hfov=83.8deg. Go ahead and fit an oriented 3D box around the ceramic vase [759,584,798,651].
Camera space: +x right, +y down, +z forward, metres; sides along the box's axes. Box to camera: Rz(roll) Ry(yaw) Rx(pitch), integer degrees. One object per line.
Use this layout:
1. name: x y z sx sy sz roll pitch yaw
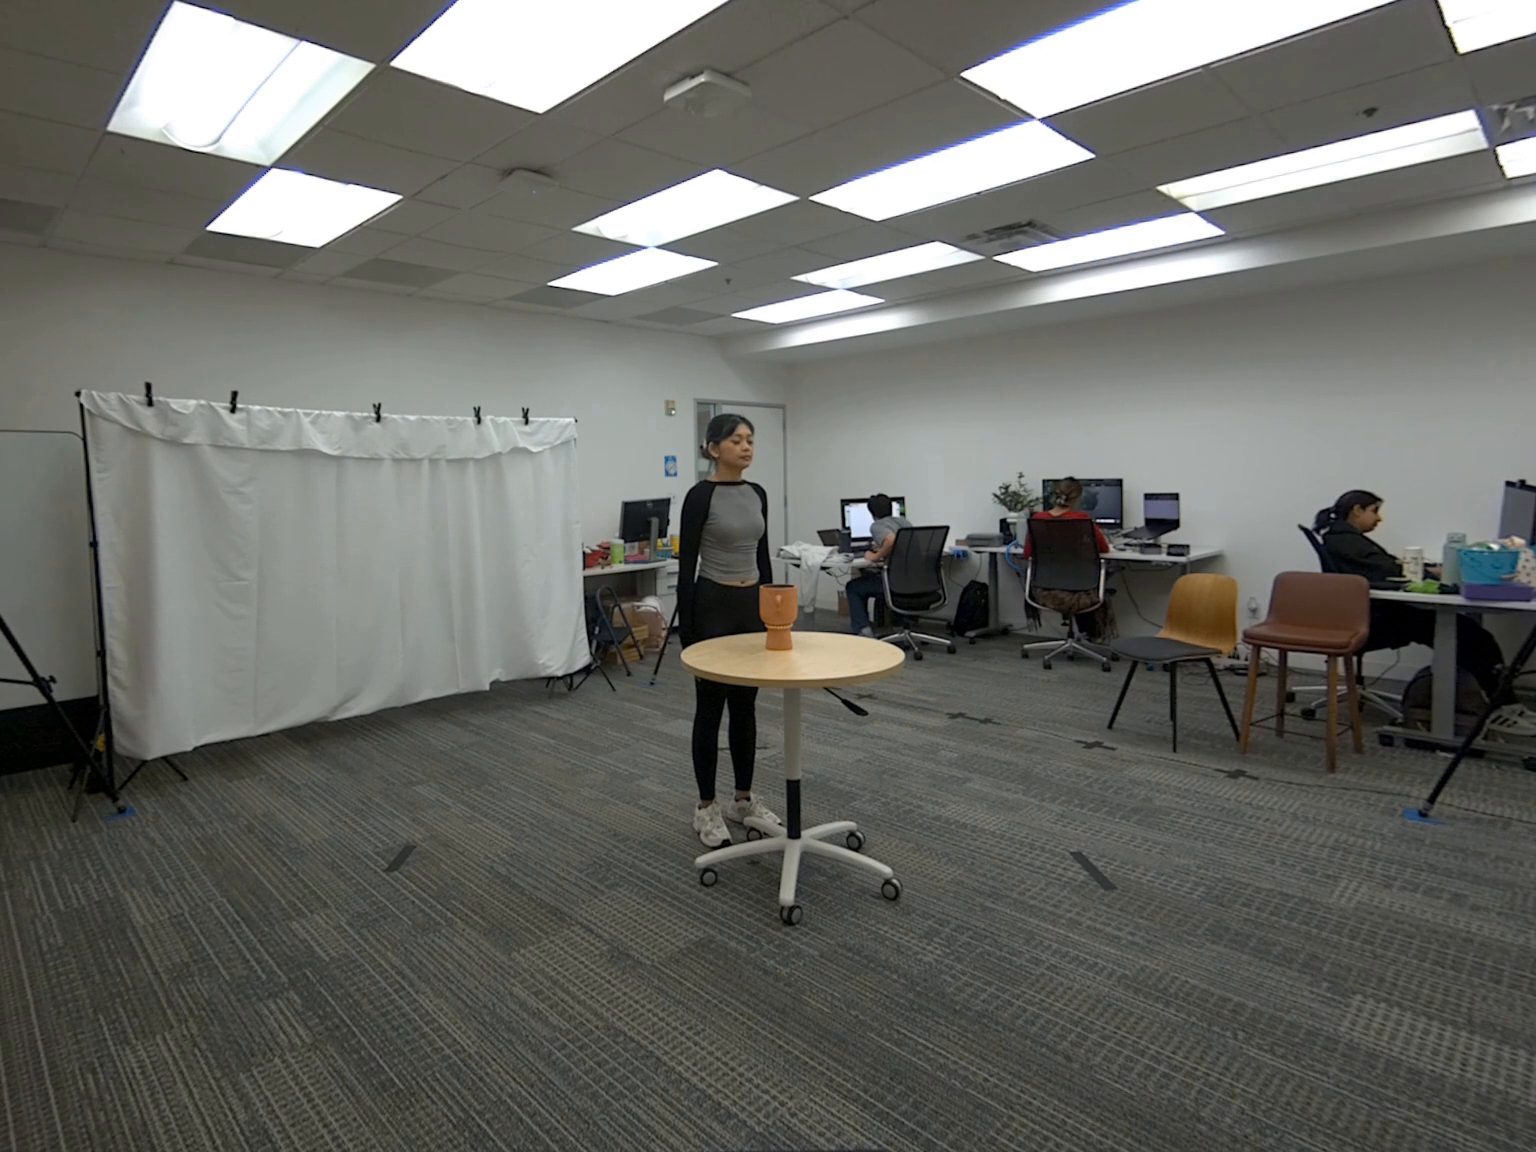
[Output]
1. ceramic vase: 0.042 0.151 3.024 0.139 0.219 0.155 3 6 41
